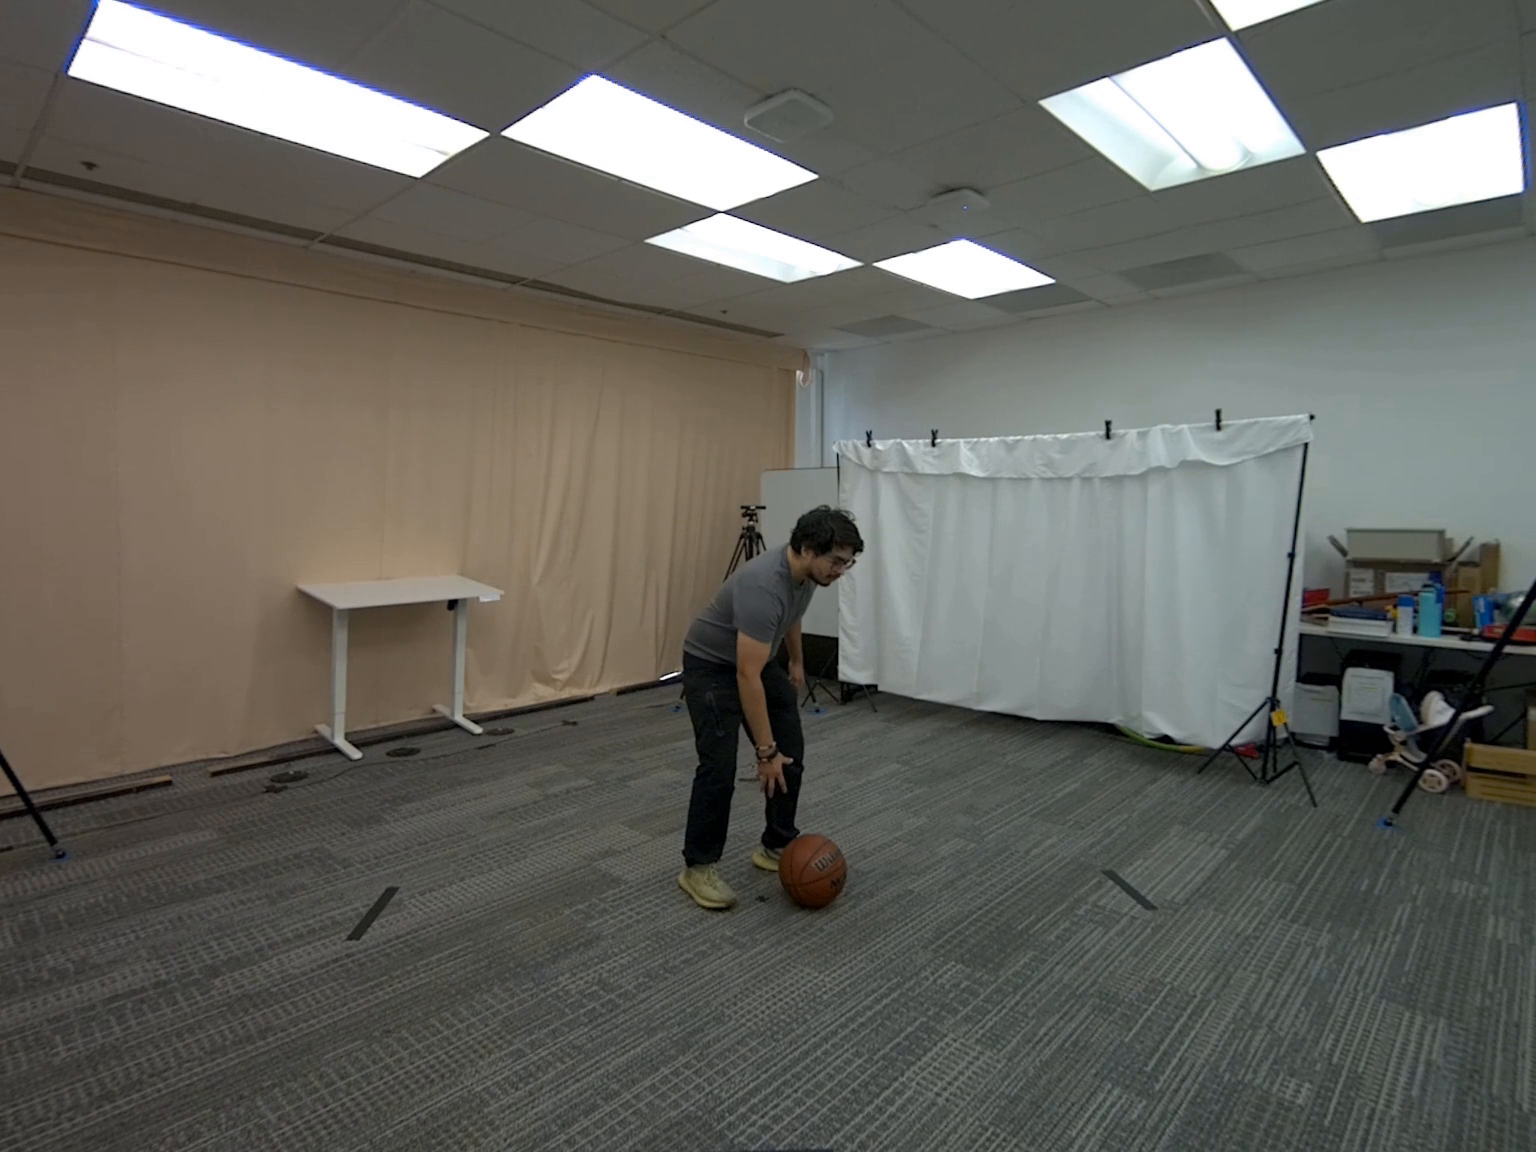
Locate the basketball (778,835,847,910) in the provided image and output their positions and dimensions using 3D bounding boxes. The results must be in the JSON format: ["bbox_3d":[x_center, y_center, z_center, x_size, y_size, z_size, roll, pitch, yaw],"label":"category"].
[{"bbox_3d":[0.158,1.028,2.949,0.236,0.235,0.237,0,4,-2],"label":"basketball"}]
